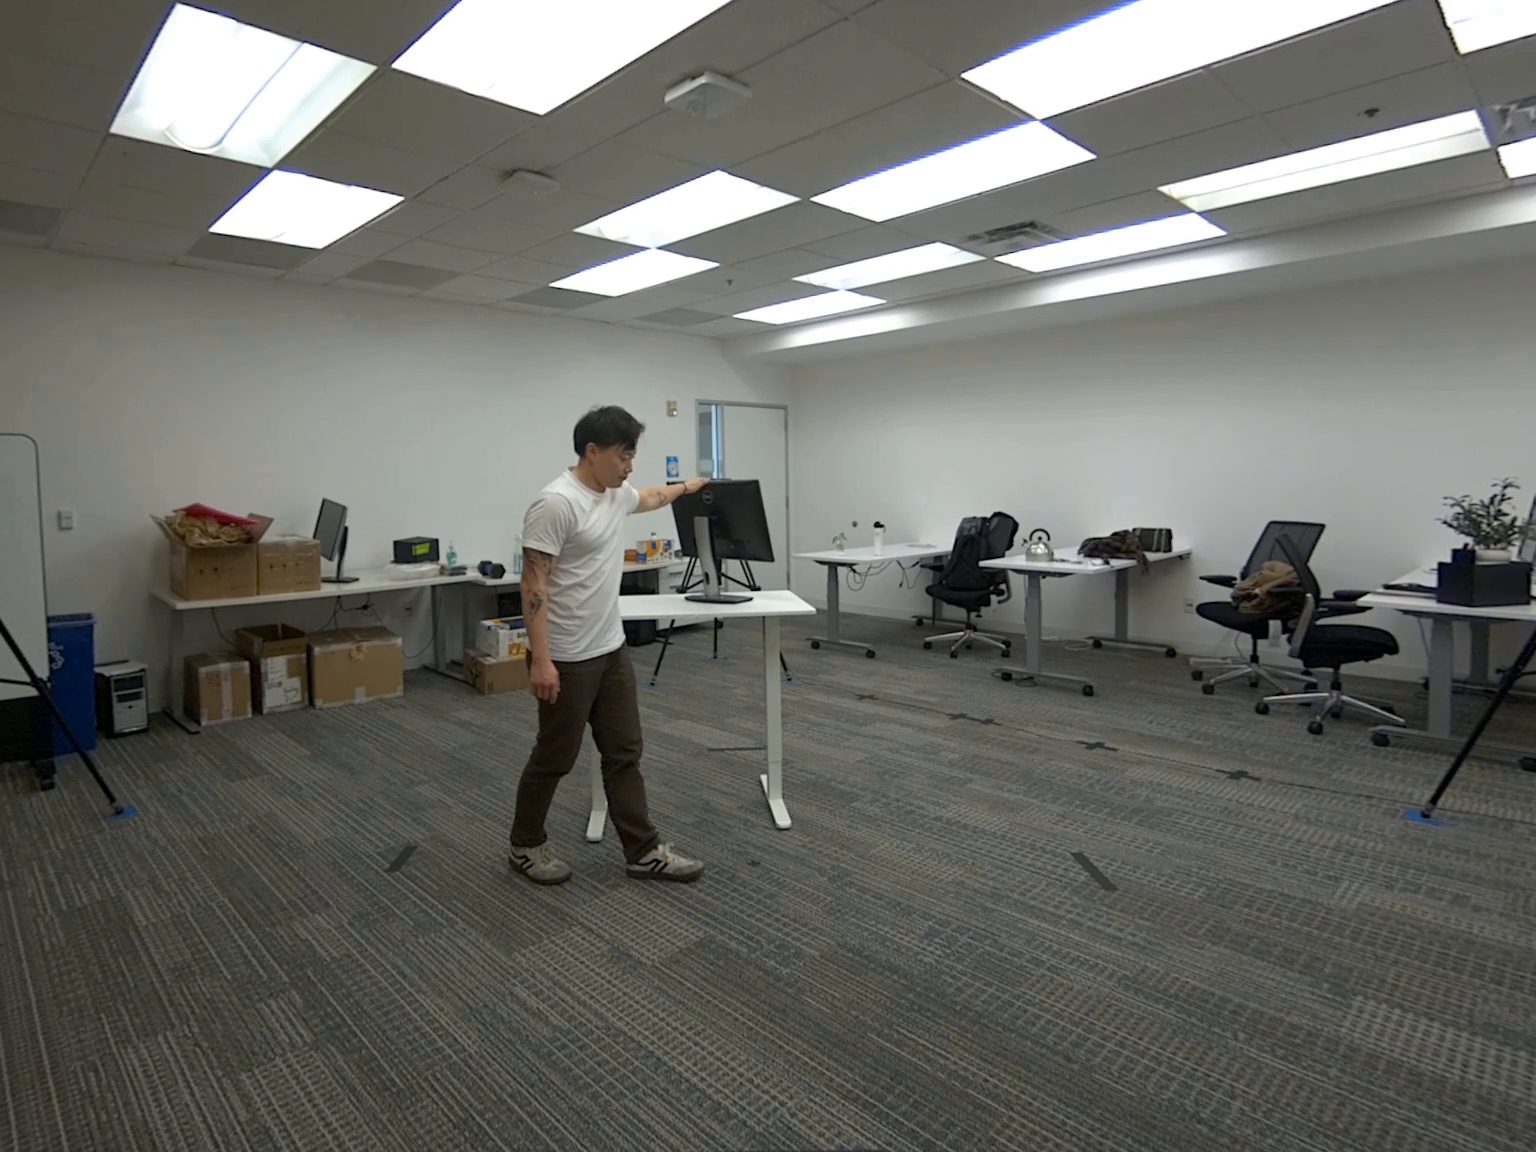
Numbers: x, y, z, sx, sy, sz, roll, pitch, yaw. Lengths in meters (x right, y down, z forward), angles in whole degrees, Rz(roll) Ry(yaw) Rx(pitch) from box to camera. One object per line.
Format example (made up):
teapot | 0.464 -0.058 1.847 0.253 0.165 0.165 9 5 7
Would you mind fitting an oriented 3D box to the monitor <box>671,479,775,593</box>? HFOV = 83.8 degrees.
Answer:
monitor | -0.229 -0.145 3.644 0.555 0.520 0.182 3 7 40
